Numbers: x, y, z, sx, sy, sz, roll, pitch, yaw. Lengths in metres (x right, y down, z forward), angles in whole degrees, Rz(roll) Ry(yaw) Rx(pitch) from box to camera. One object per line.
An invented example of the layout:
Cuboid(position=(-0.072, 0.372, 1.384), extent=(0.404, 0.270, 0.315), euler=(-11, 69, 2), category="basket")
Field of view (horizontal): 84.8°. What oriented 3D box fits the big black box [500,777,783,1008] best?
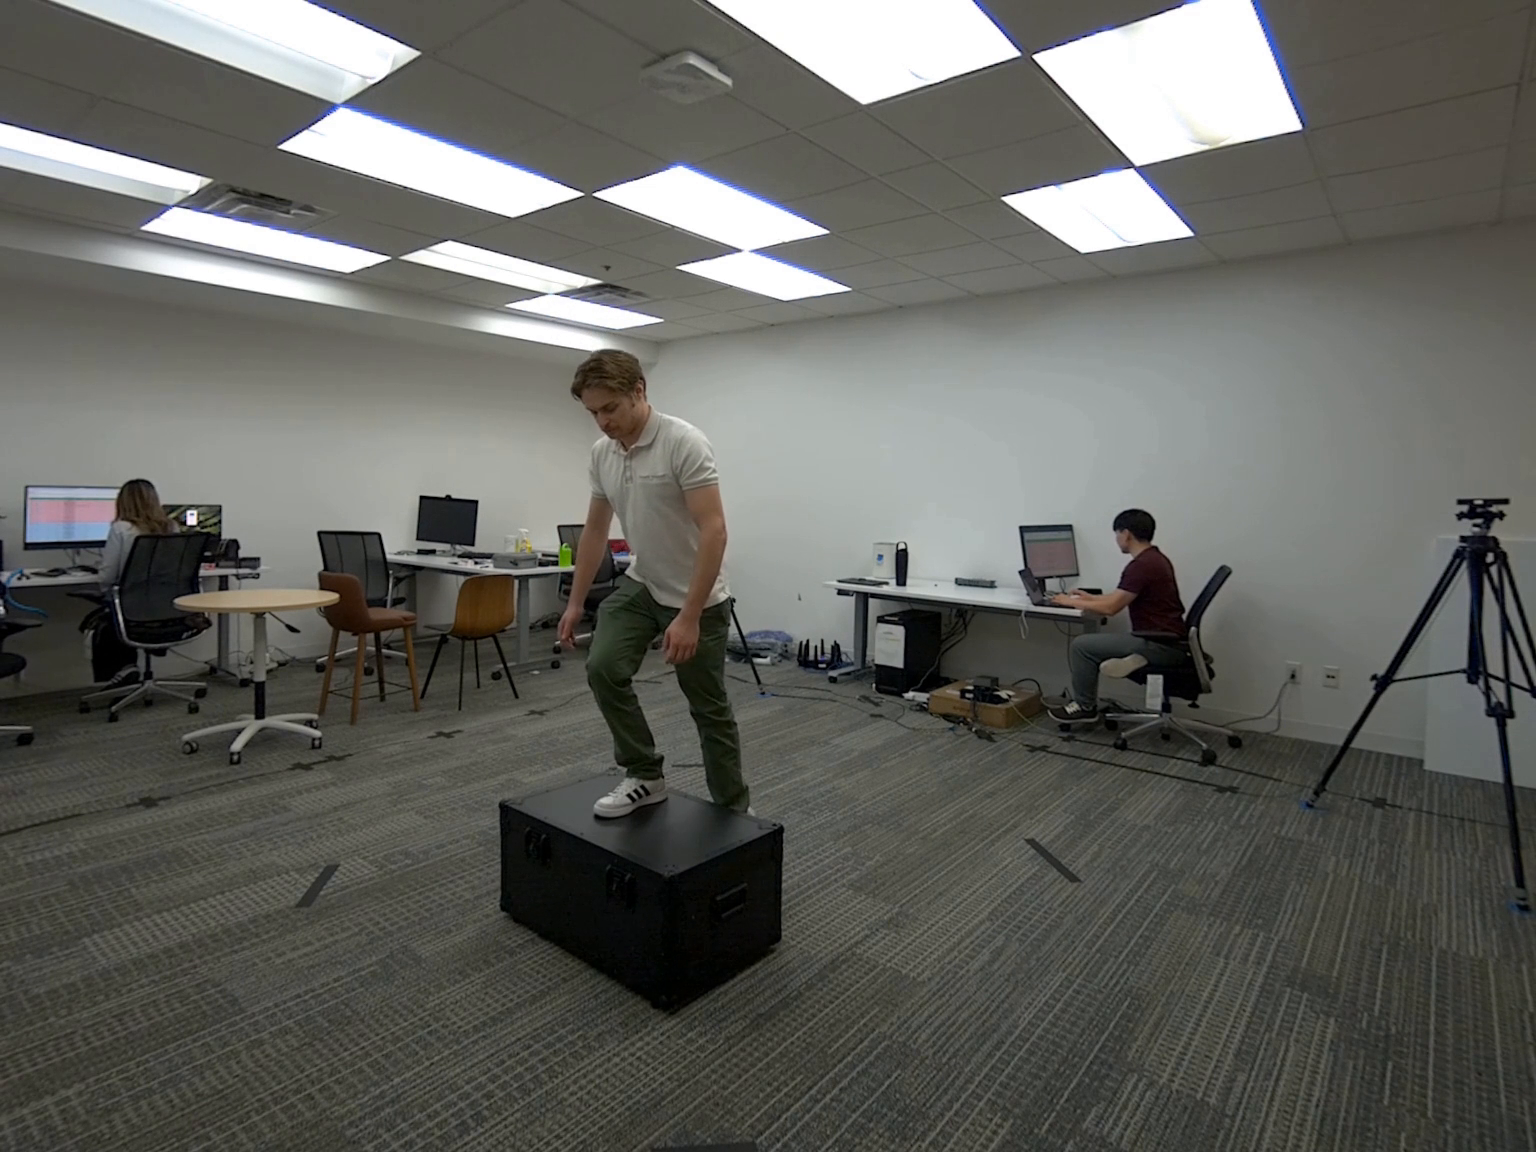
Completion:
Cuboid(position=(-0.441, 0.920, 2.673), extent=(0.891, 0.395, 0.506), euler=(6, 7, 40), category="big black box")
